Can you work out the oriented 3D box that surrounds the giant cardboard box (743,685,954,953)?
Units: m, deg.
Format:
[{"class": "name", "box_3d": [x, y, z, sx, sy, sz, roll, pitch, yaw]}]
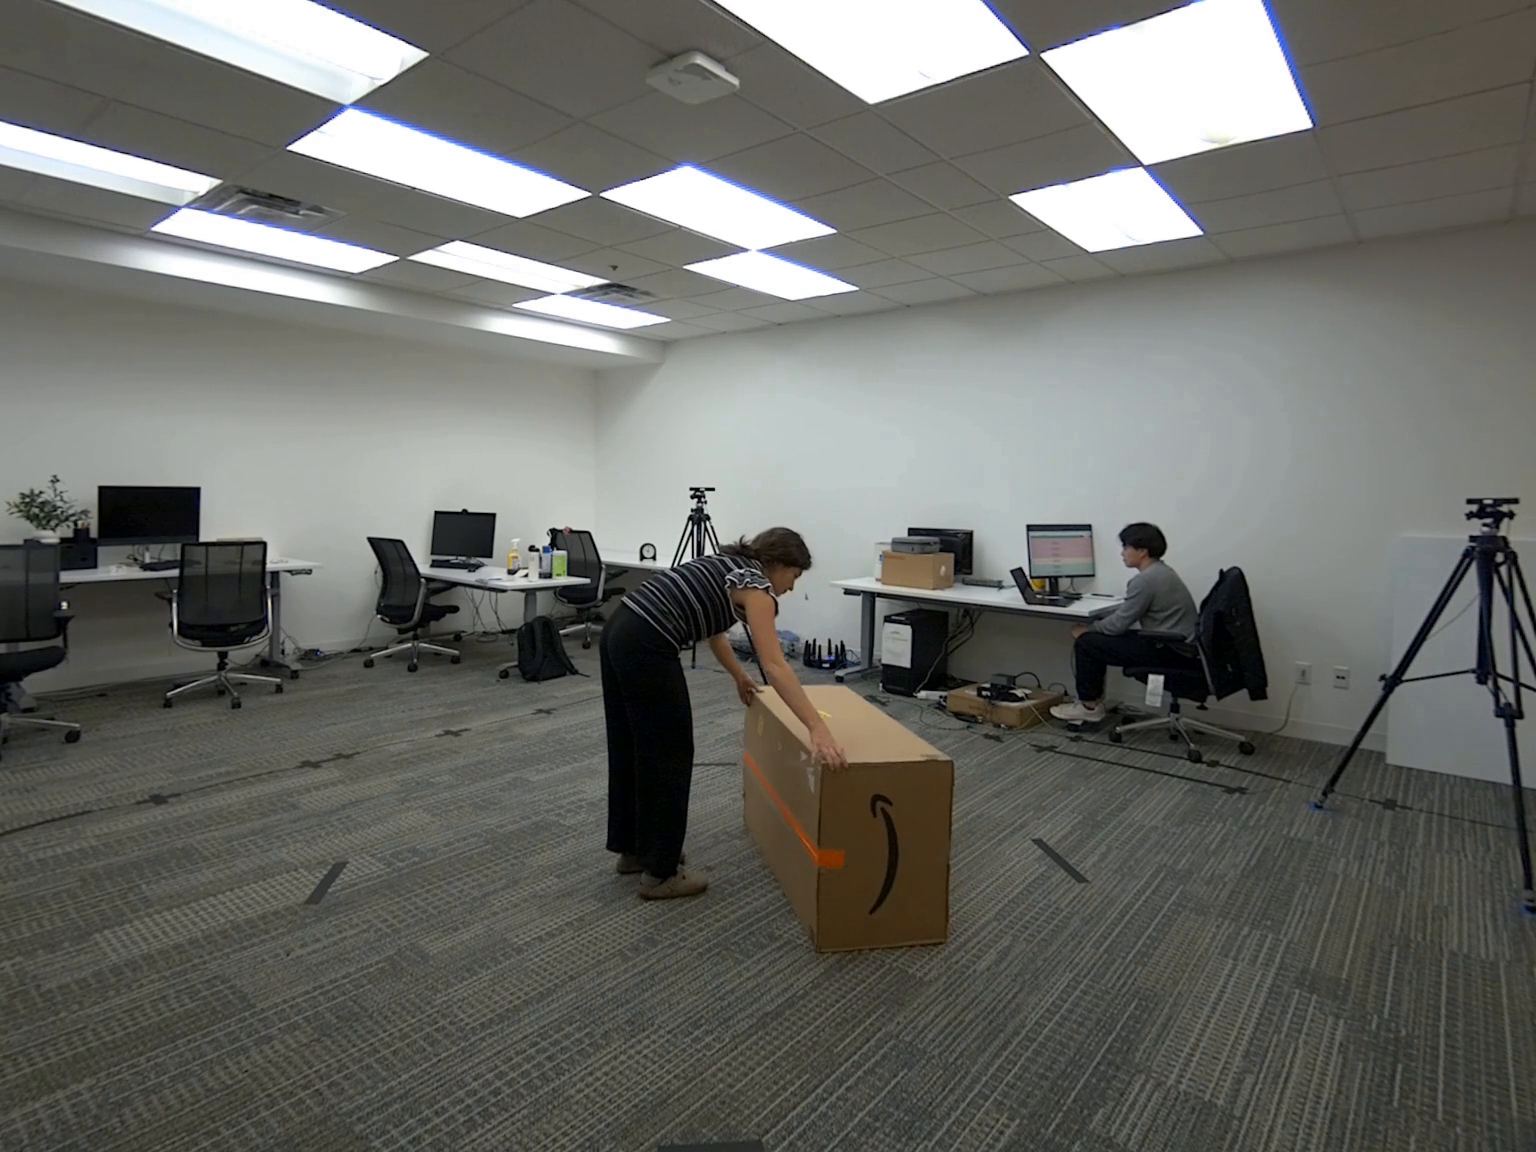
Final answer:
[{"class": "giant cardboard box", "box_3d": [0.224, 0.785, 3.075, 0.420, 0.575, 1.044, 0, 5, -14]}]
